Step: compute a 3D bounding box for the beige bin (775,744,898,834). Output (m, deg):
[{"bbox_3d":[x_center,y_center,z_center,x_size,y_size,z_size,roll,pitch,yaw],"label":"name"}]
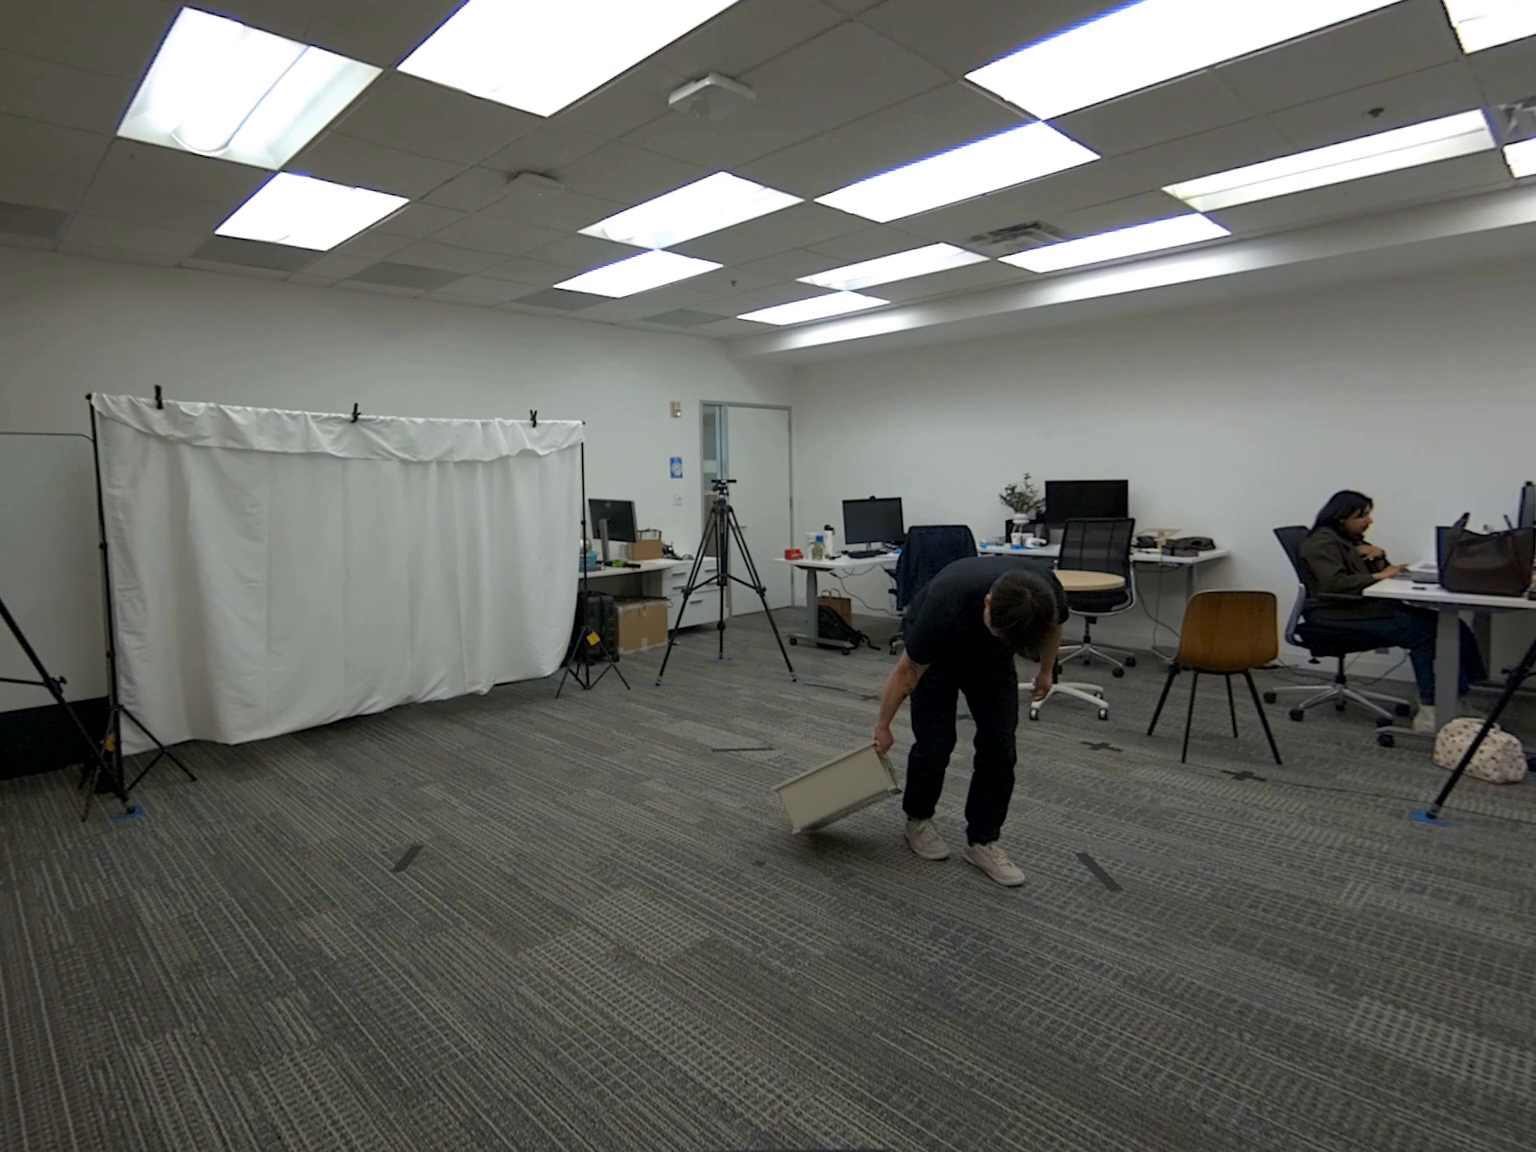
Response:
[{"bbox_3d":[0.272,0.815,3.240,0.423,0.193,0.368,-25,-17,4],"label":"beige bin"}]
